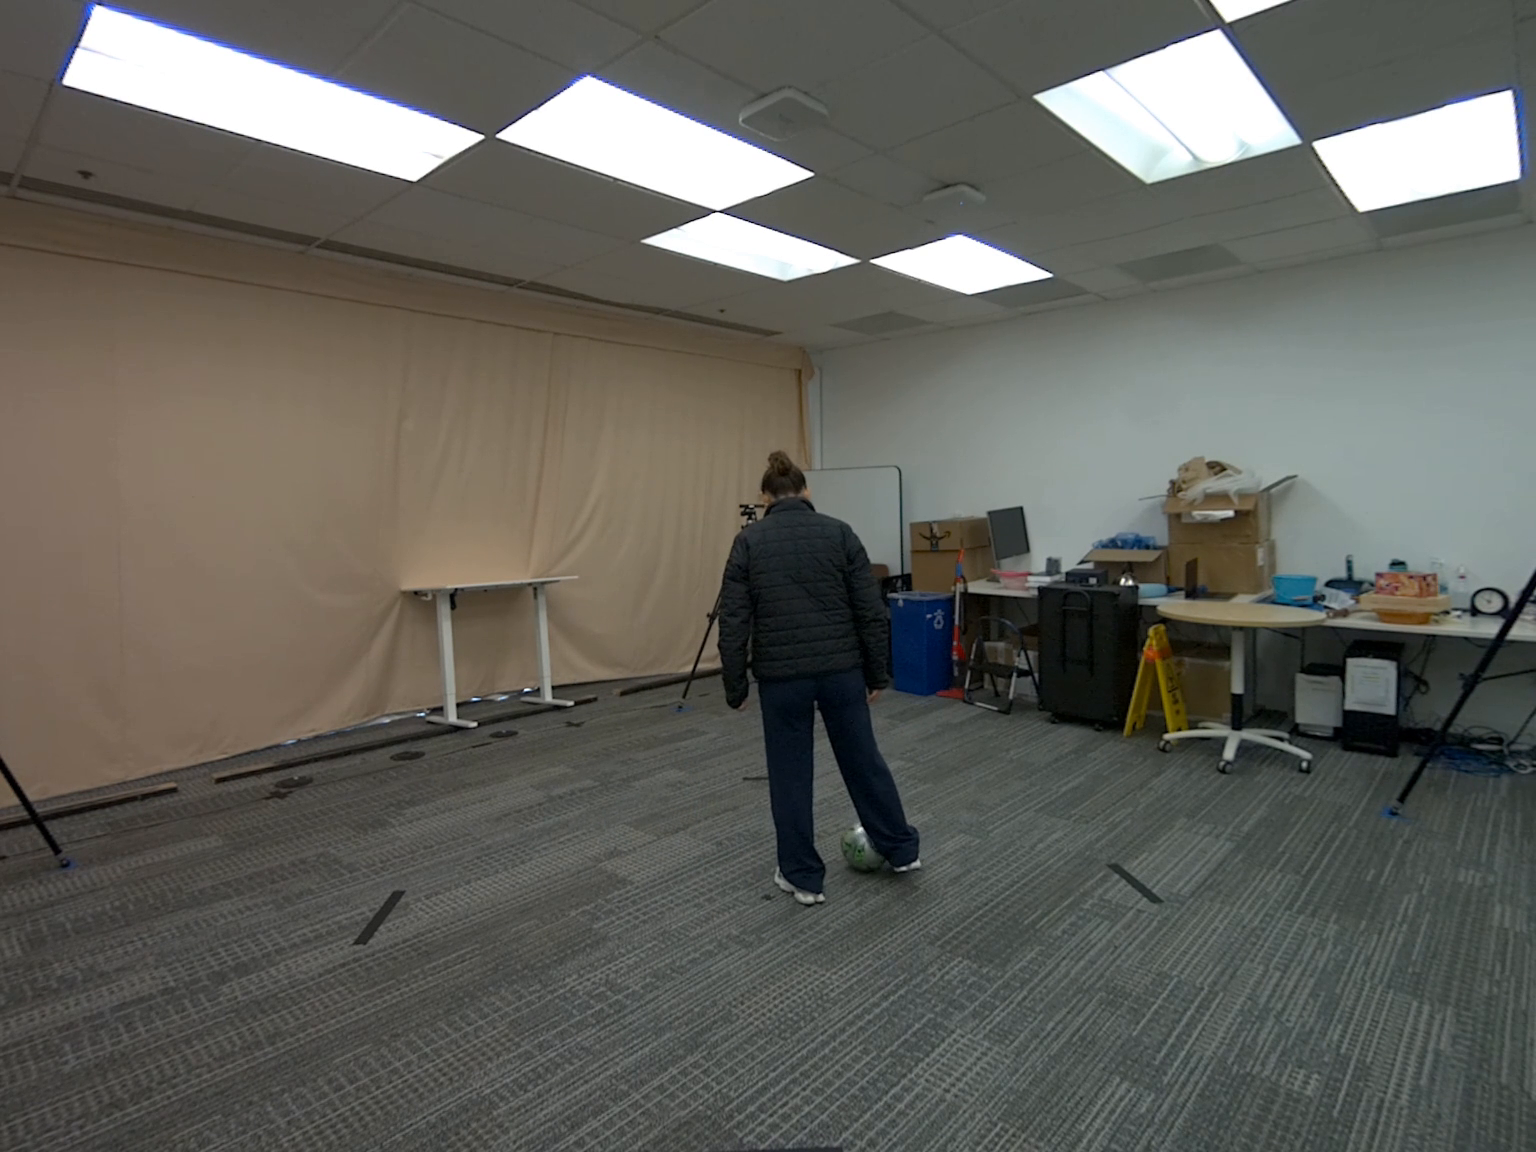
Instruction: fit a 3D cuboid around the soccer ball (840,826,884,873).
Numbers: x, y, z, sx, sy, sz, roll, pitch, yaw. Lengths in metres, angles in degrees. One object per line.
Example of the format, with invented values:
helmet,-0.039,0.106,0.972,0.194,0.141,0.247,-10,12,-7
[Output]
soccer ball,0.374,1.024,3.196,0.187,0.187,0.188,-1,4,-2
